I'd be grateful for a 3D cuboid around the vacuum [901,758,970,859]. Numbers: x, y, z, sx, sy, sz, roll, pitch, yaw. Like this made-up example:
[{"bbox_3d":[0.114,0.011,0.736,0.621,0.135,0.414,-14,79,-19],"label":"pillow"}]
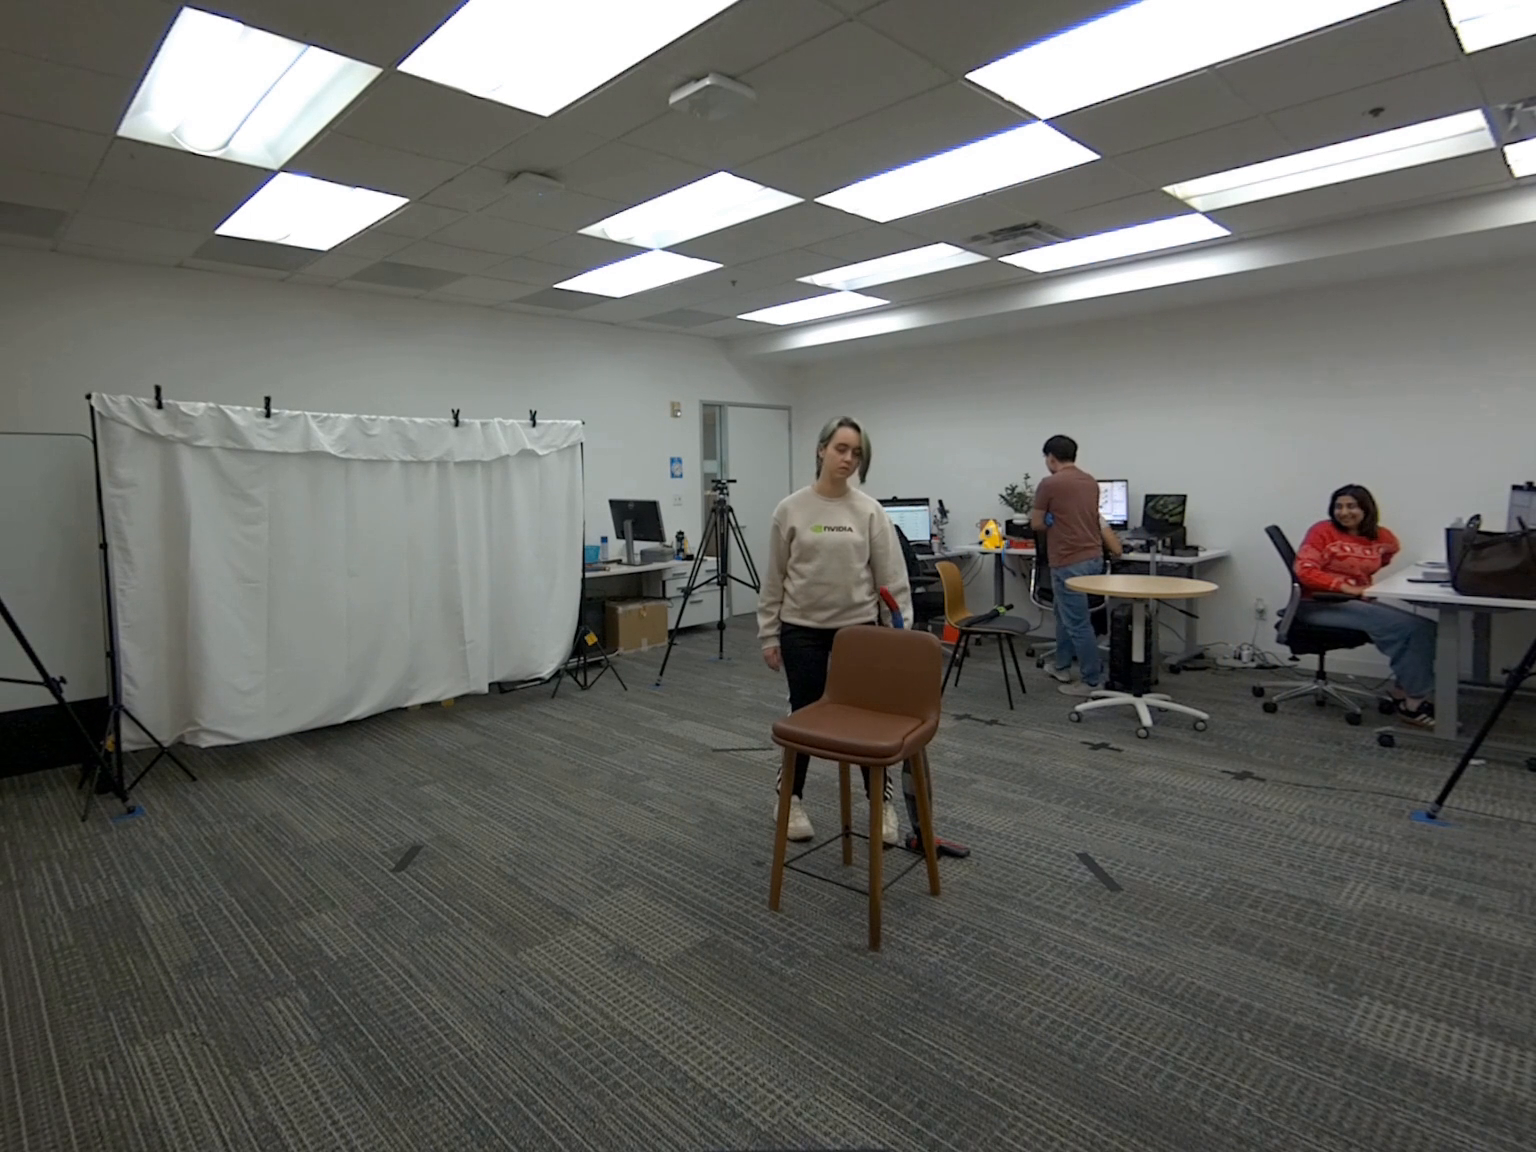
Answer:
[{"bbox_3d":[0.532,0.544,3.066,0.260,1.033,0.142,4,20,39],"label":"vacuum"}]
